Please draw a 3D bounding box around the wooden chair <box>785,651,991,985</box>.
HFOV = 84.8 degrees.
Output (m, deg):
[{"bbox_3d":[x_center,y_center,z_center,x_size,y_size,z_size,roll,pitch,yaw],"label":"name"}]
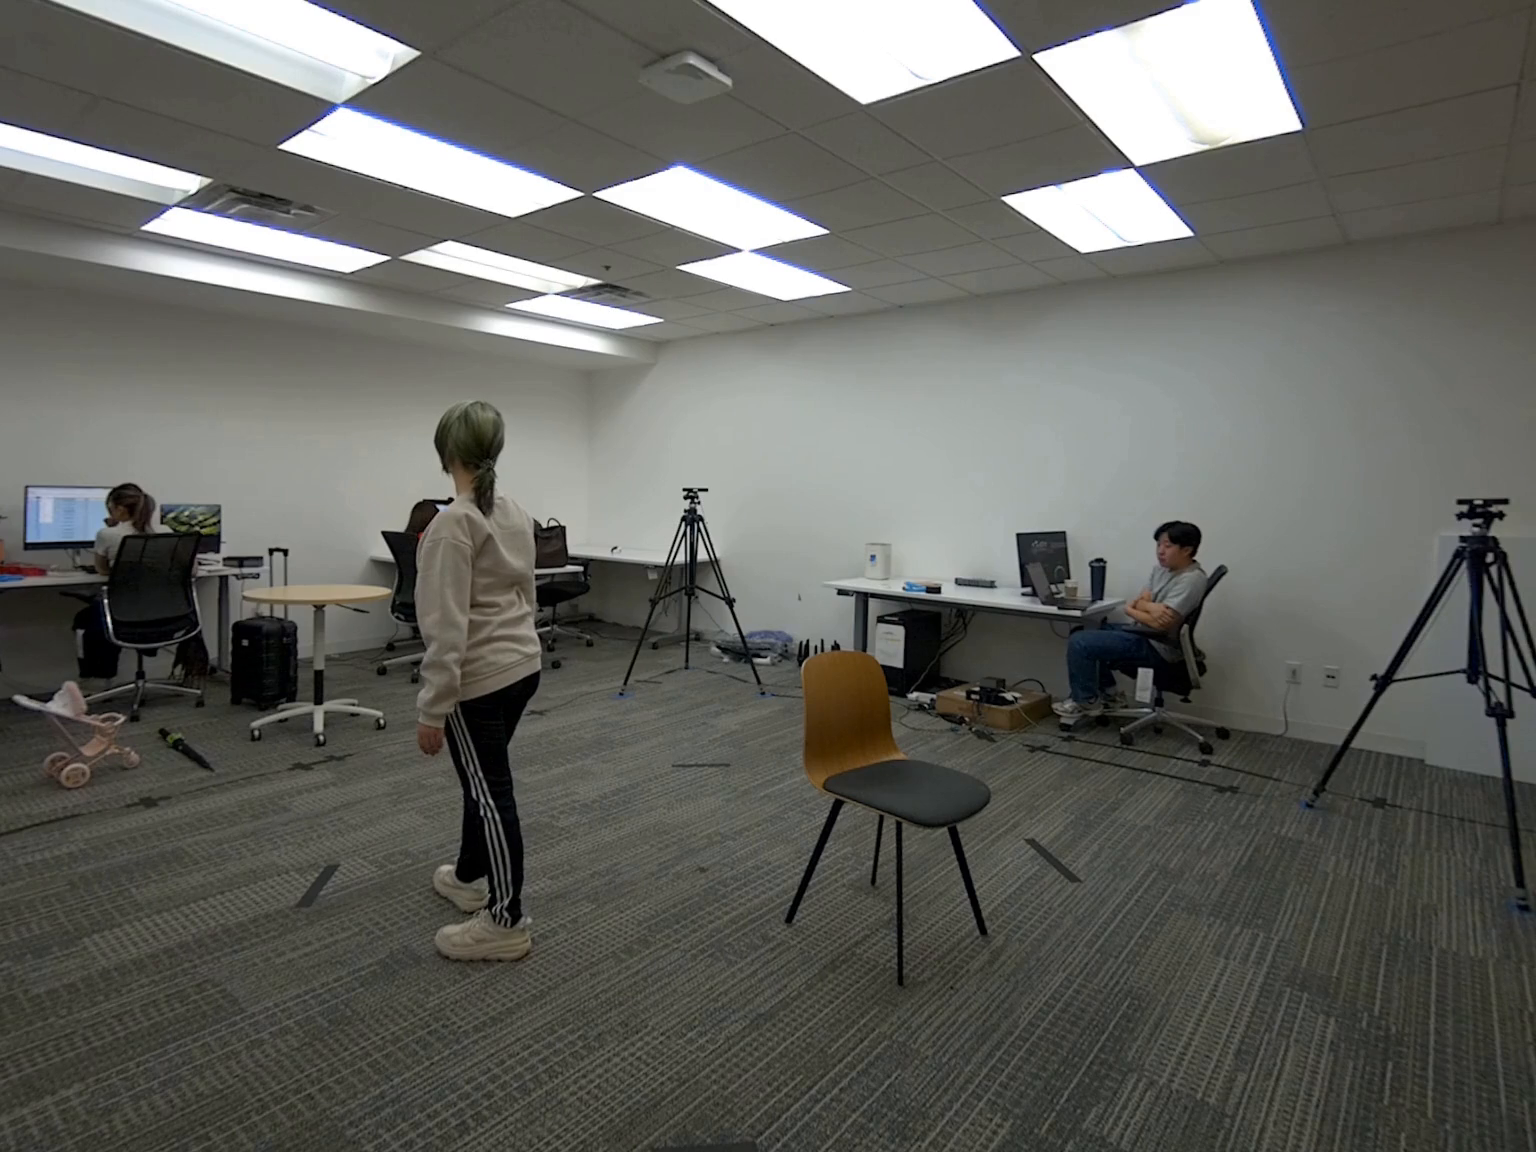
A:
[{"bbox_3d":[0.386,0.701,2.673,0.463,0.878,0.539,-1,0,-43],"label":"wooden chair"}]
